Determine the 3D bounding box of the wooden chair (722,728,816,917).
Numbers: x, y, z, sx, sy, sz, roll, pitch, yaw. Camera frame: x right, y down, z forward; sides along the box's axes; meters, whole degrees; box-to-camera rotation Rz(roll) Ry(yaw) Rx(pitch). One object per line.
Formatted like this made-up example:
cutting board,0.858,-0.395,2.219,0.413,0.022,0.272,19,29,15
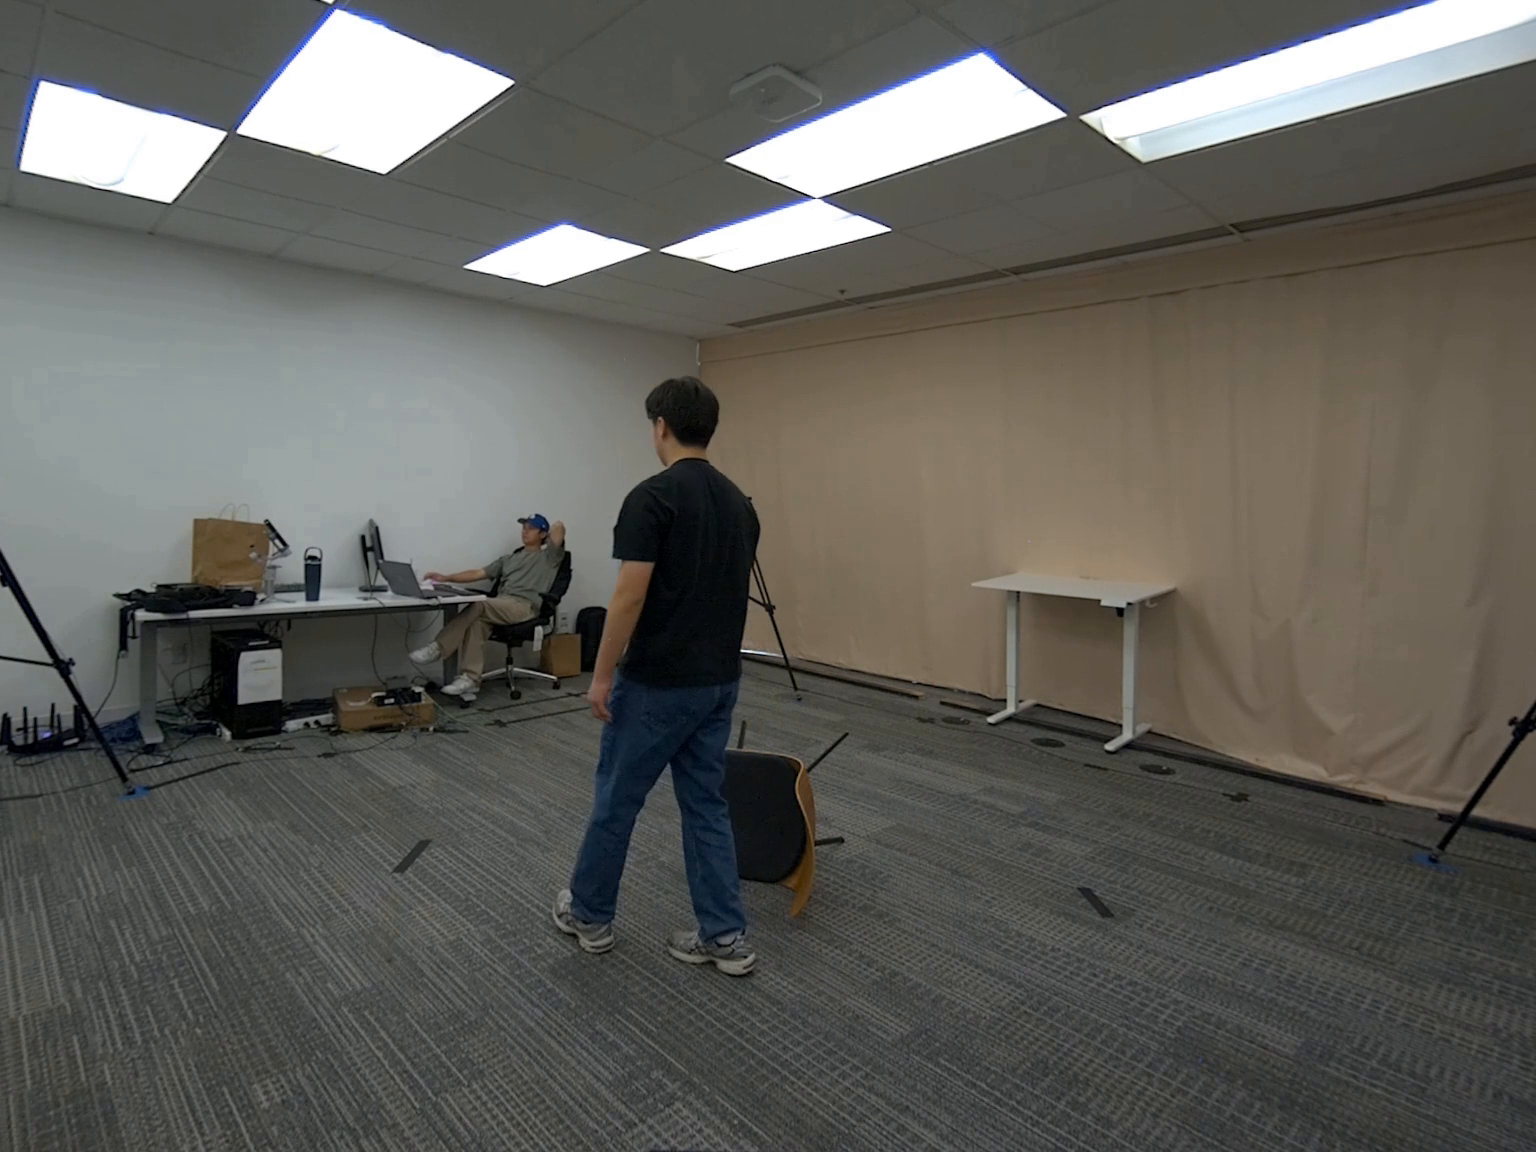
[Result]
wooden chair,-0.021,0.875,3.103,0.529,0.477,0.870,3,5,13
